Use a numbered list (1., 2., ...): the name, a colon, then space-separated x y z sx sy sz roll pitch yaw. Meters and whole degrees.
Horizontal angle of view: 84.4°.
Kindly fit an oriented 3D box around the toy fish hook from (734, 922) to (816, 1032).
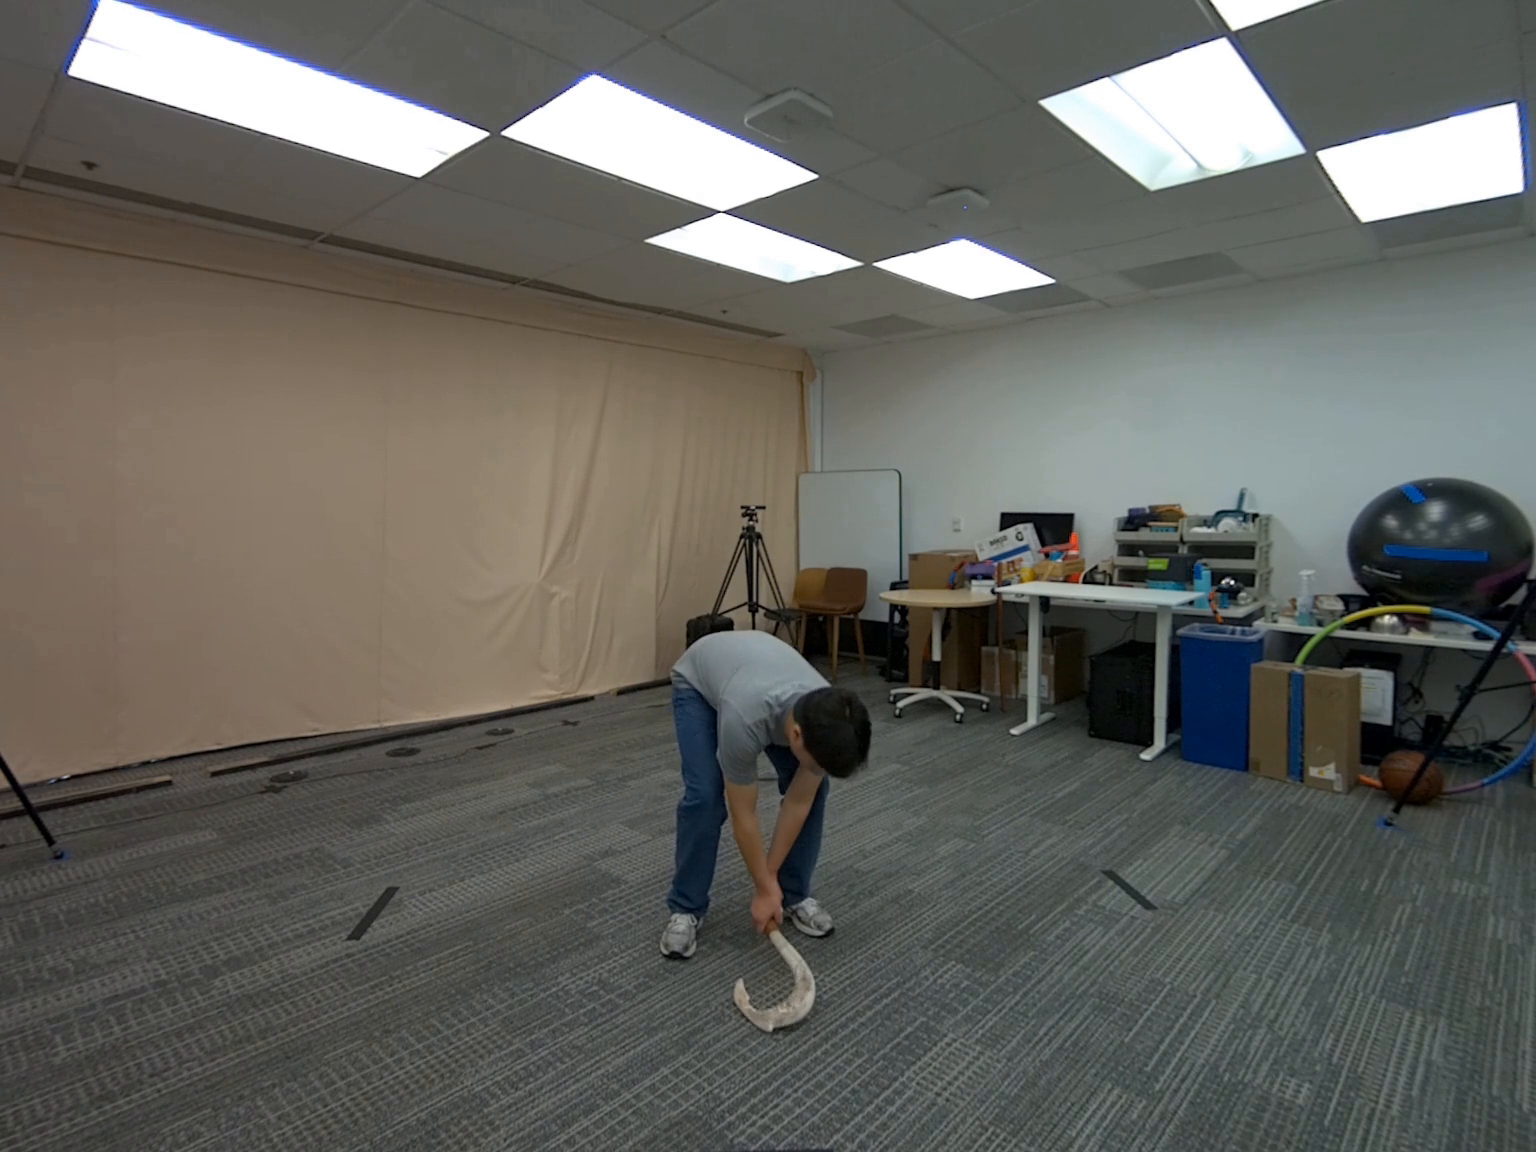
1. toy fish hook: -0.011 1.085 2.451 0.223 0.047 0.516 -15 18 -6
